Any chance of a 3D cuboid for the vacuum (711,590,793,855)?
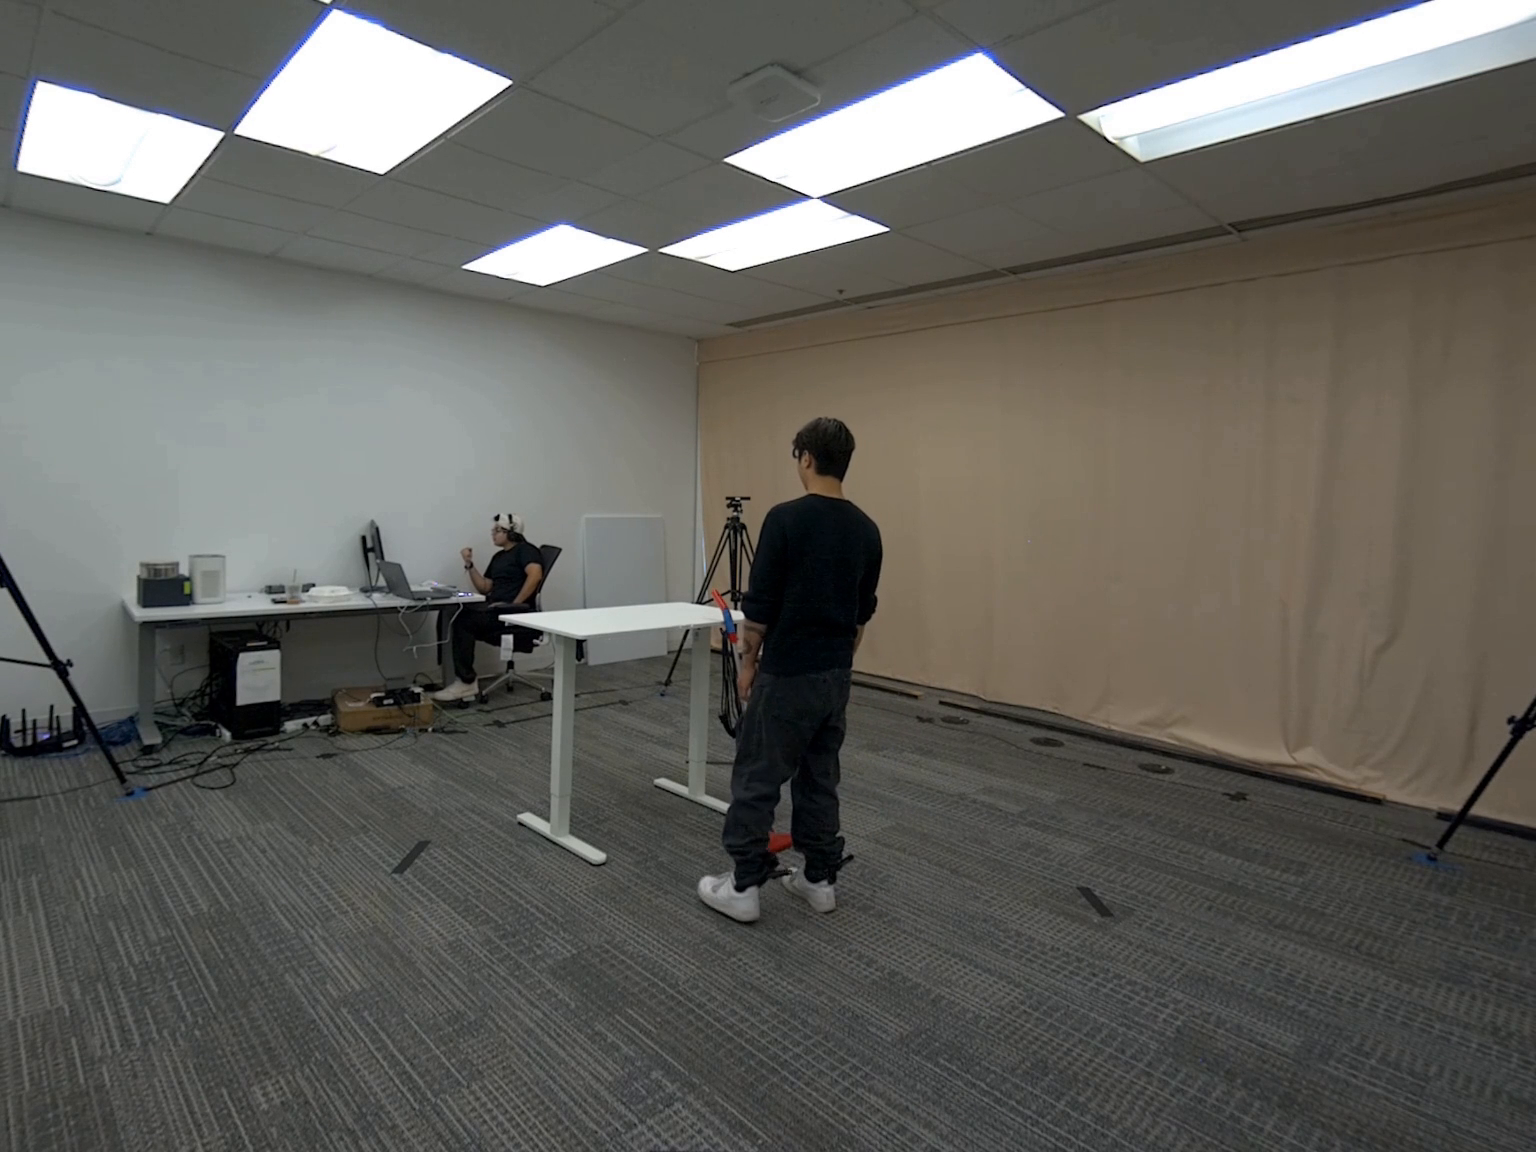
[{"bbox_3d":[-0.123,0.579,3.480,0.146,1.059,0.246,-21,-14,40],"label":"vacuum"}]
